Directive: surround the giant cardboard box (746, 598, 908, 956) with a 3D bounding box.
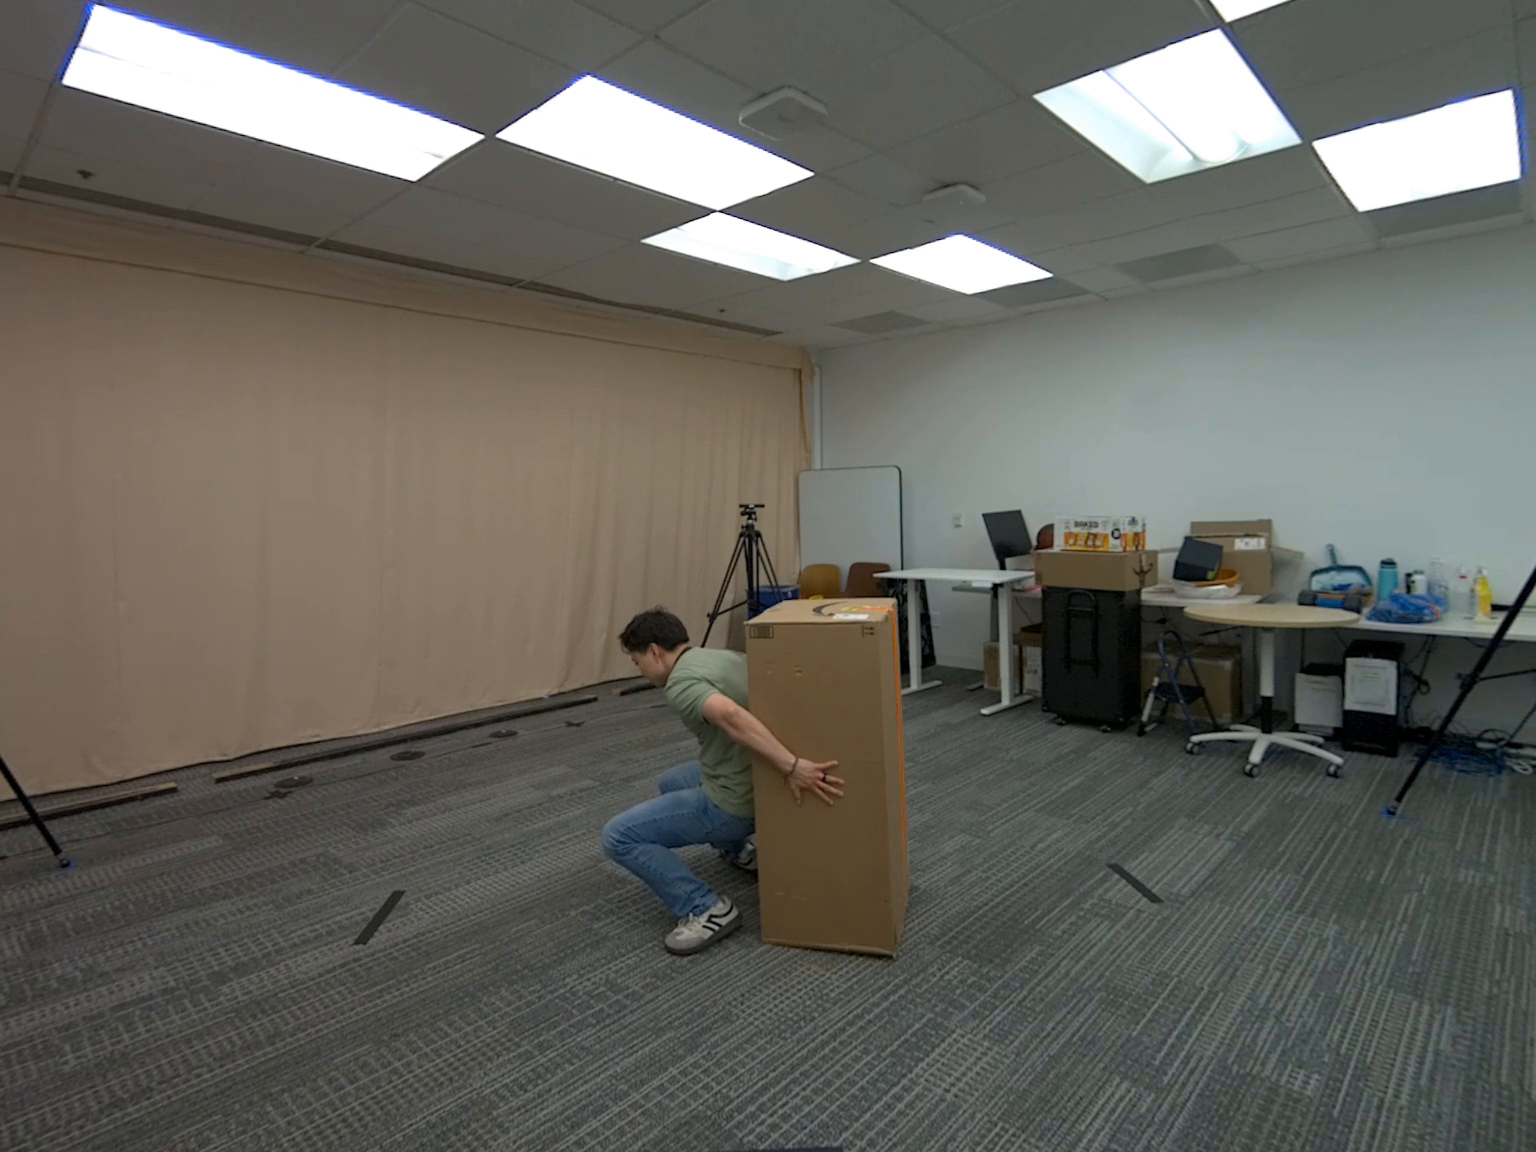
[{"bbox_3d":[0.230,0.614,2.855,0.434,1.024,0.568,-3,3,16],"label":"giant cardboard box"}]
